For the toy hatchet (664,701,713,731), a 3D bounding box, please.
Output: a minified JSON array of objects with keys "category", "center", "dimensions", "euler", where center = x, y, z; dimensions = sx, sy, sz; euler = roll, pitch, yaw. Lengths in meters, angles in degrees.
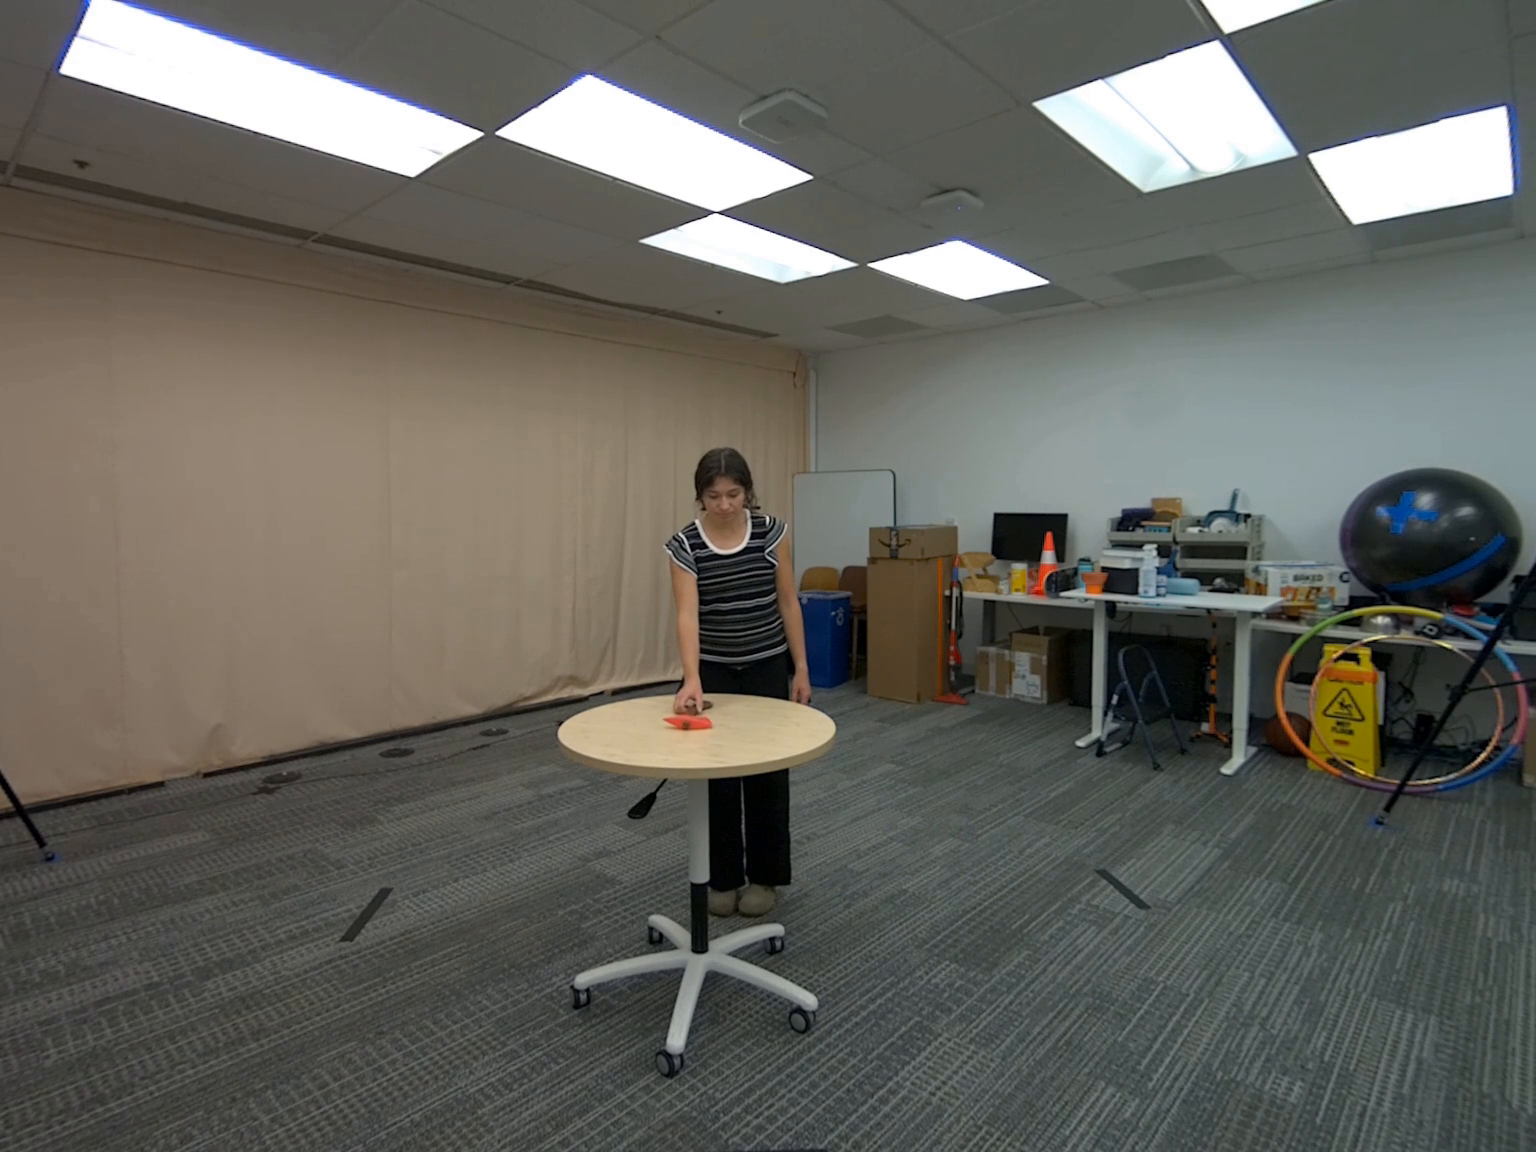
[{"category":"toy hatchet","center":[-0.183,0.396,2.411],"dimensions":[0.134,0.029,0.264],"euler":[6,5,20]}]
